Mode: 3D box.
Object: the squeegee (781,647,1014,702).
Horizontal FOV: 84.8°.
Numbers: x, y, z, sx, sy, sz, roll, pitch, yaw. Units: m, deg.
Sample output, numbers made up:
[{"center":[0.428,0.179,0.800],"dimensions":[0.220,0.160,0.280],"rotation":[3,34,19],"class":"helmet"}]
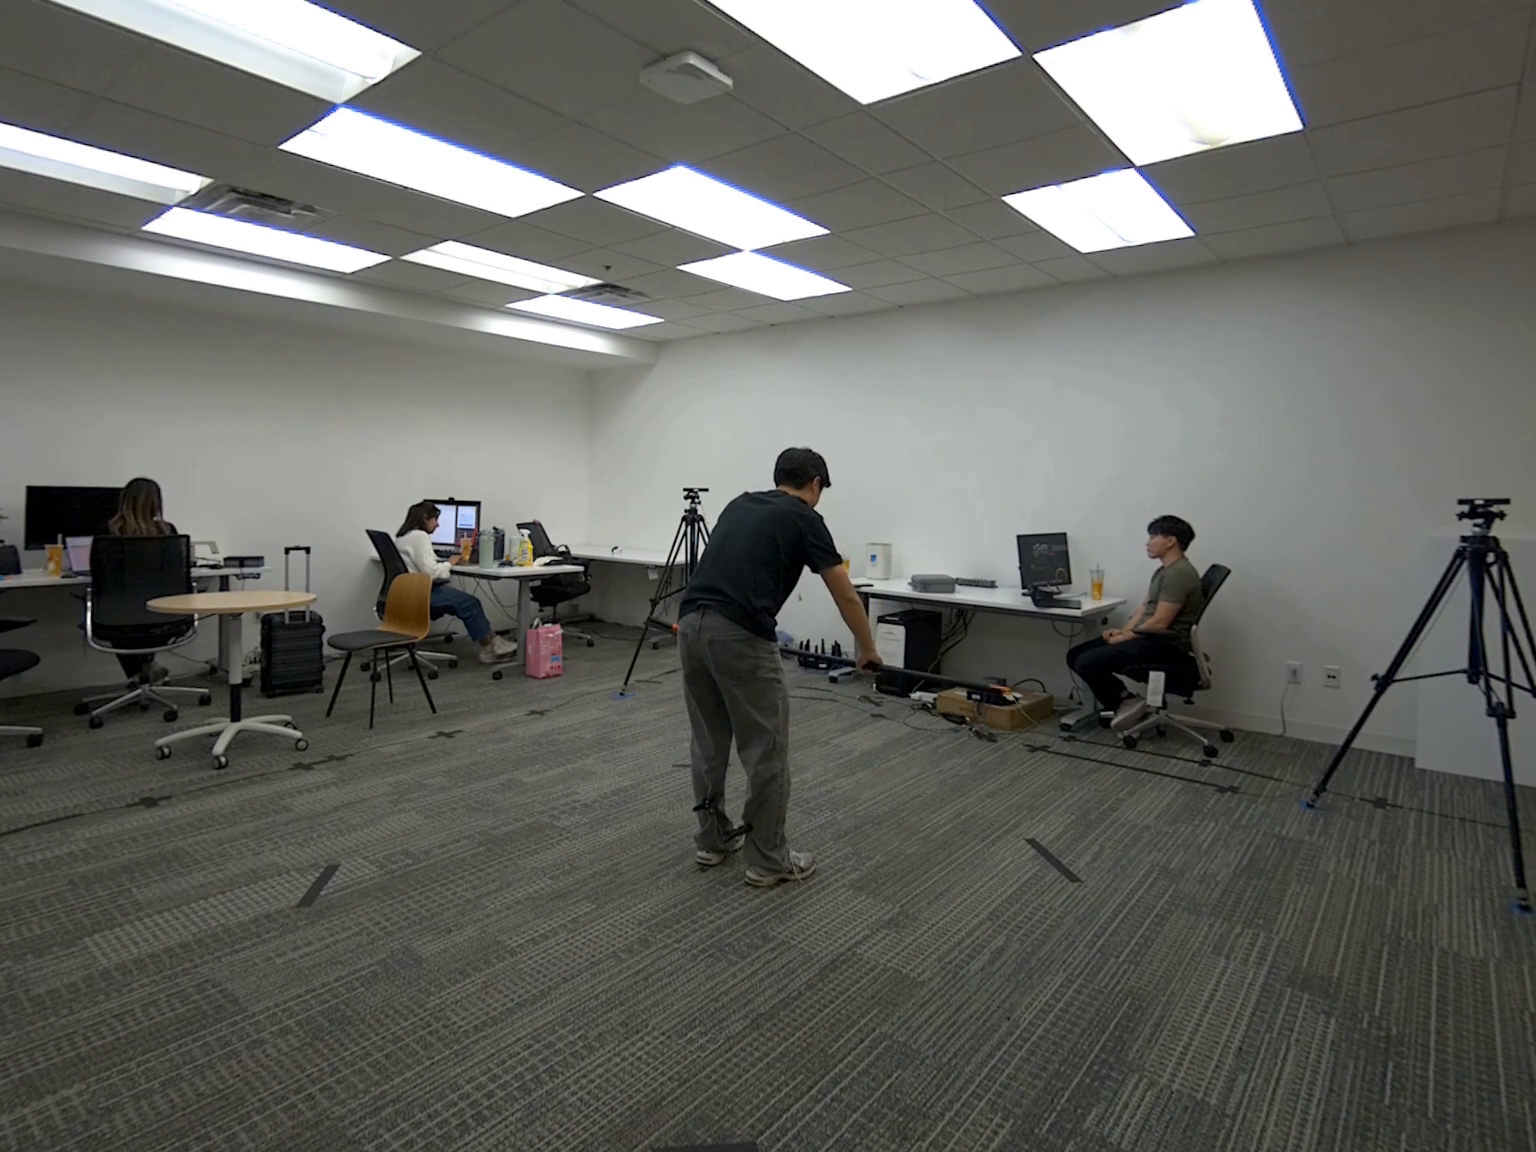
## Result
[{"center":[0.190,0.325,3.358],"dimensions":[1.591,0.053,0.419],"rotation":[8,-14,39],"class":"squeegee"}]
